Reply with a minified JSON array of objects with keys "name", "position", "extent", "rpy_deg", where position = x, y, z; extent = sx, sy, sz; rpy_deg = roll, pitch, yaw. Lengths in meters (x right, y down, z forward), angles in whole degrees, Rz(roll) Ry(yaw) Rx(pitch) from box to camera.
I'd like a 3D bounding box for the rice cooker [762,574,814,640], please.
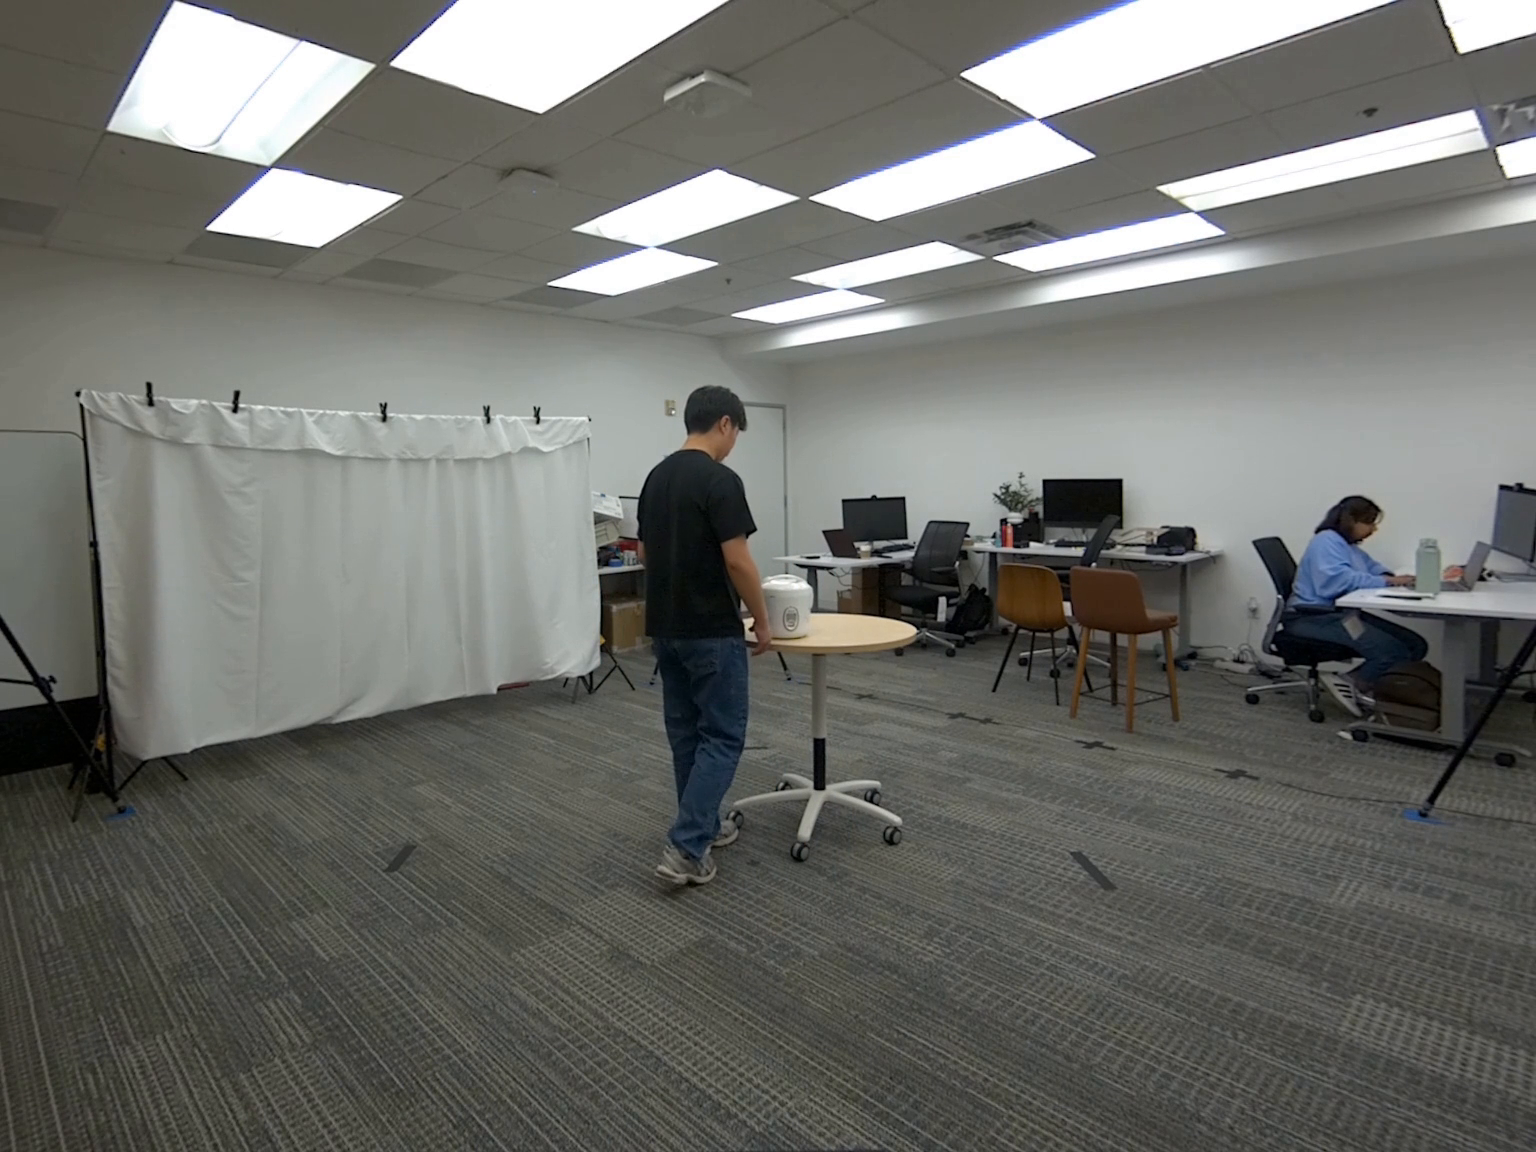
[{"name":"rice cooker","position":[0.063,0.110,3.246],"extent":[0.218,0.232,0.221],"rpy_deg":[-2,4,-12]}]
